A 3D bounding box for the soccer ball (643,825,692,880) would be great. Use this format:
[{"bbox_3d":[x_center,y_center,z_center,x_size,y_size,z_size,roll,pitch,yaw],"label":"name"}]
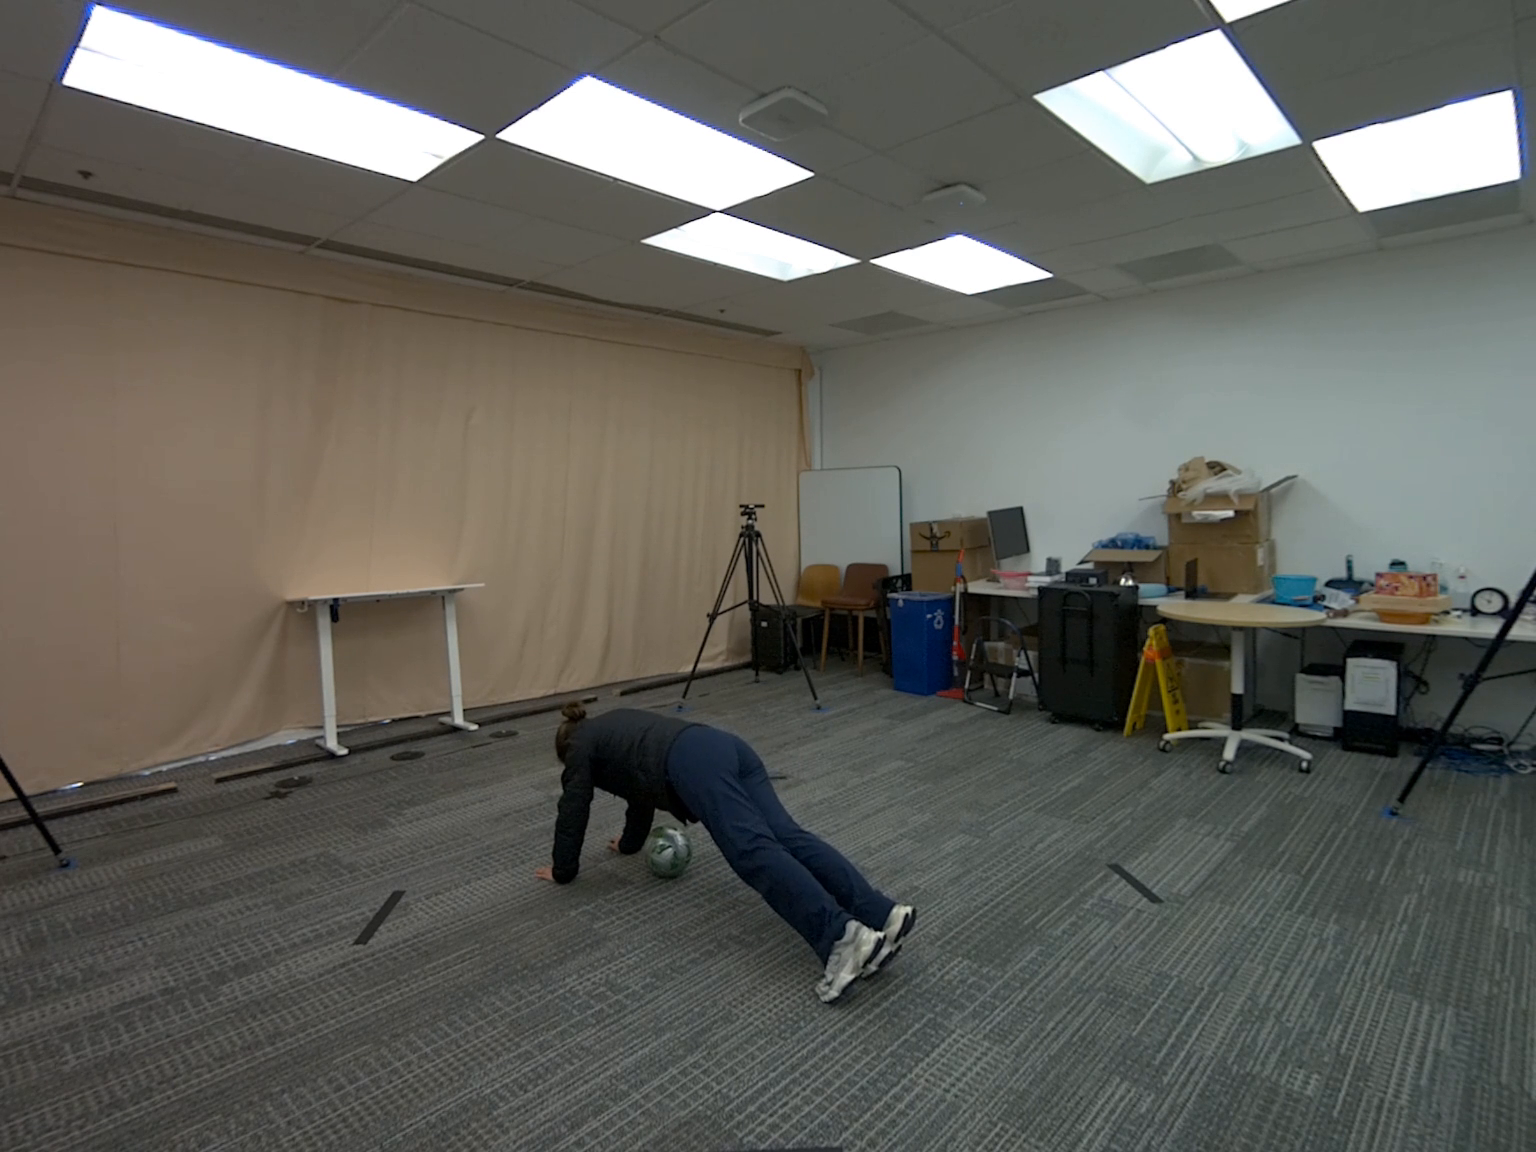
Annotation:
[{"bbox_3d":[-0.381,1.041,3.183,0.187,0.187,0.188,-1,4,-2],"label":"soccer ball"}]
